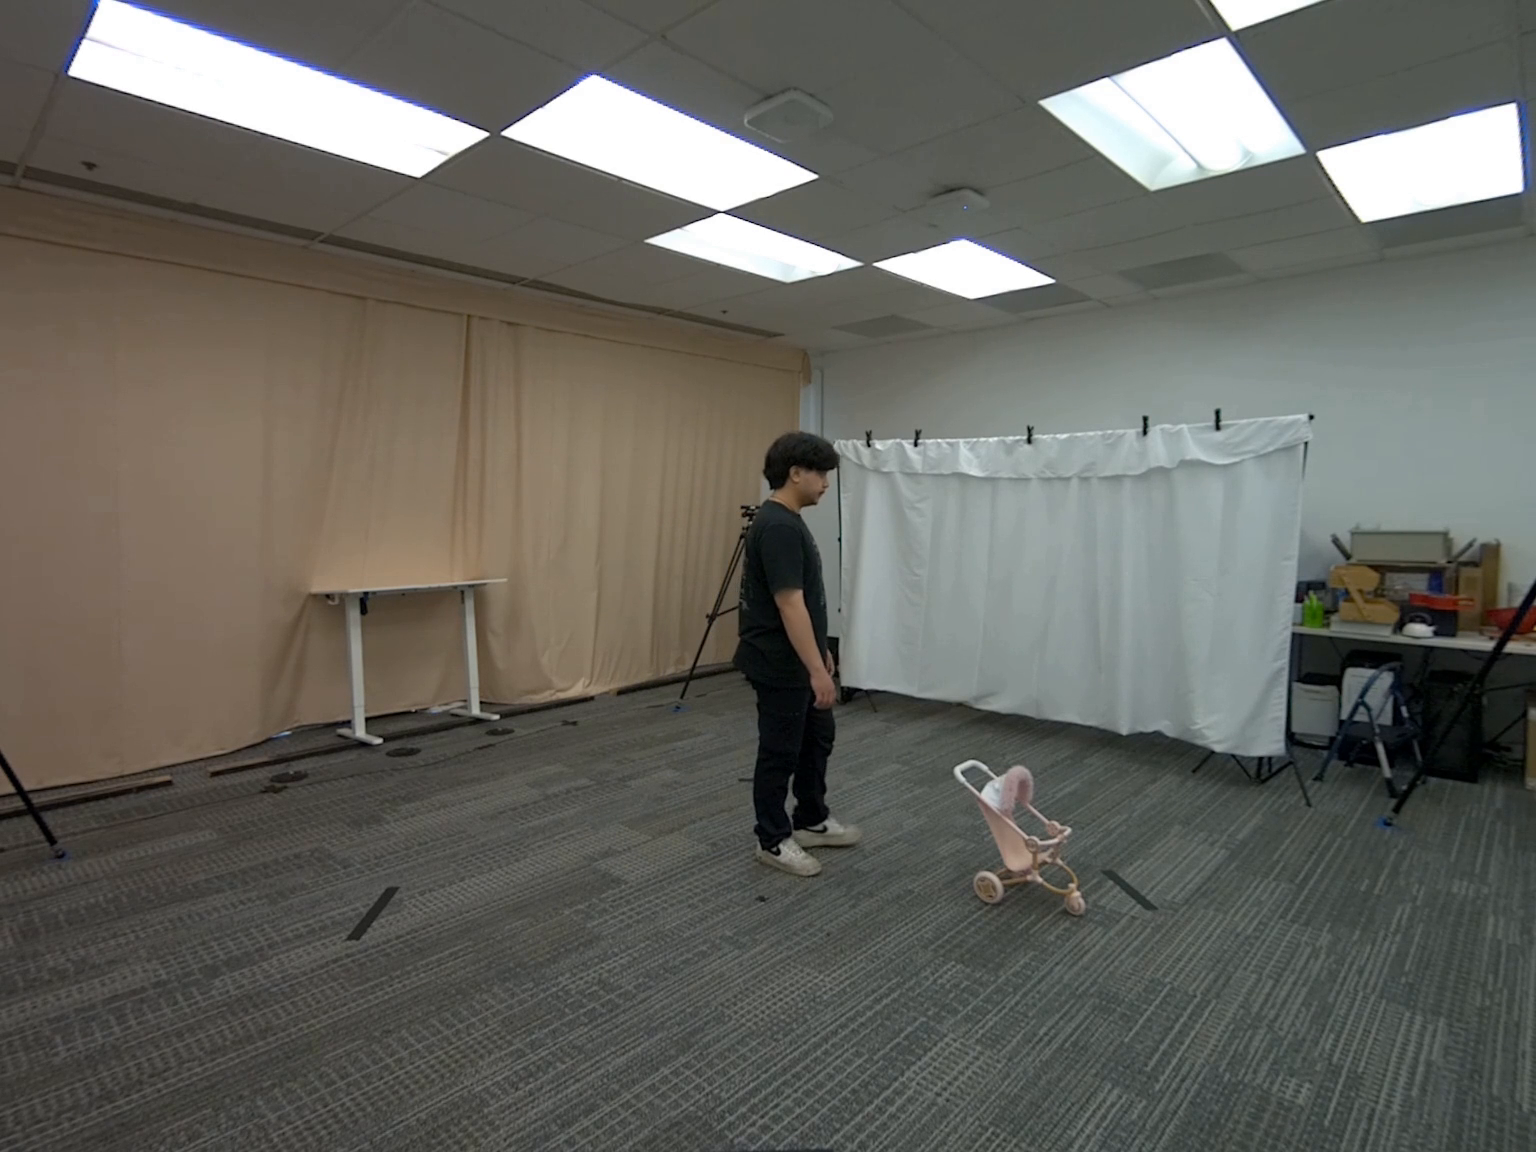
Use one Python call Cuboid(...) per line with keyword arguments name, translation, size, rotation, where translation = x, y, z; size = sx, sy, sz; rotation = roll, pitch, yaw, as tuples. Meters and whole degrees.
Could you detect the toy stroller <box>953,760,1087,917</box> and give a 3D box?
Cuboid(name="toy stroller", translation=(0.904, 0.916, 2.981), size=(0.273, 0.539, 0.349), rotation=(-3, -12, -45))
